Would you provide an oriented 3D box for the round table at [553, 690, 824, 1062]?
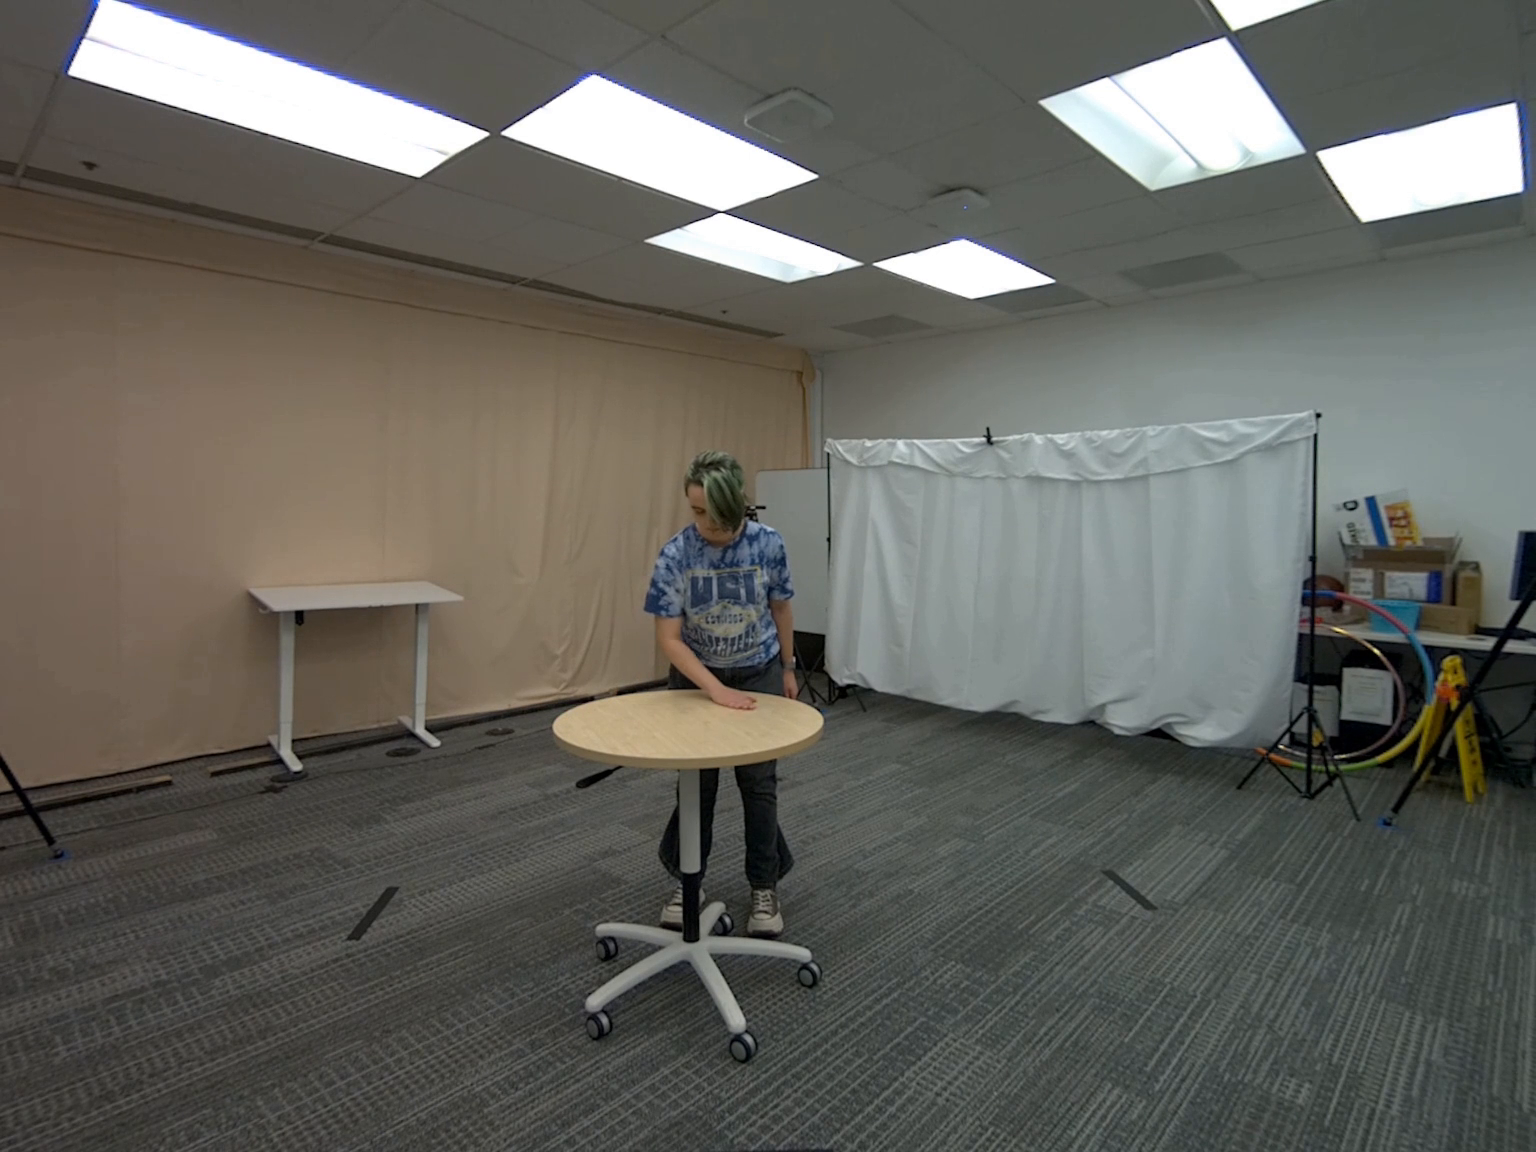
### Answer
[{"bbox_3d":[-0.230,0.796,2.434,0.784,0.785,0.788,0,4,-2],"label":"round table"}]
